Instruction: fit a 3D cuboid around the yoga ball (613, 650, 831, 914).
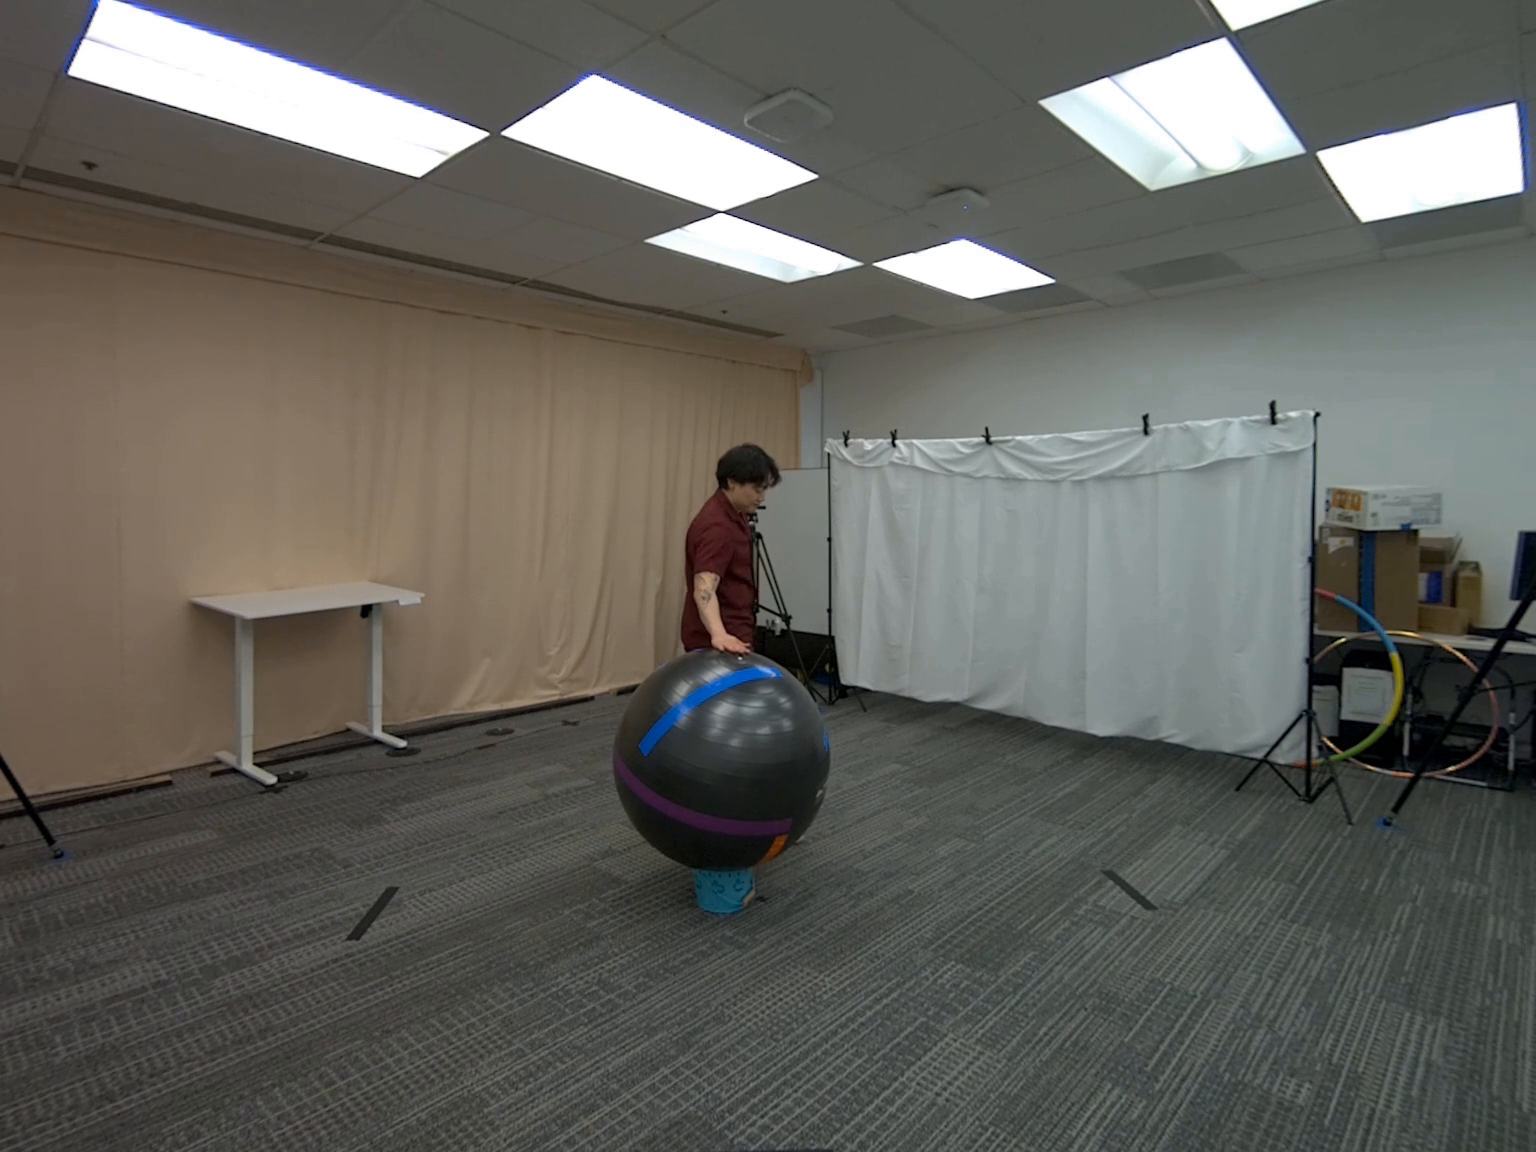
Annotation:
[{"bbox_3d":[-0.156,0.638,2.943,0.757,0.756,0.760,0,4,-2],"label":"yoga ball"}]
